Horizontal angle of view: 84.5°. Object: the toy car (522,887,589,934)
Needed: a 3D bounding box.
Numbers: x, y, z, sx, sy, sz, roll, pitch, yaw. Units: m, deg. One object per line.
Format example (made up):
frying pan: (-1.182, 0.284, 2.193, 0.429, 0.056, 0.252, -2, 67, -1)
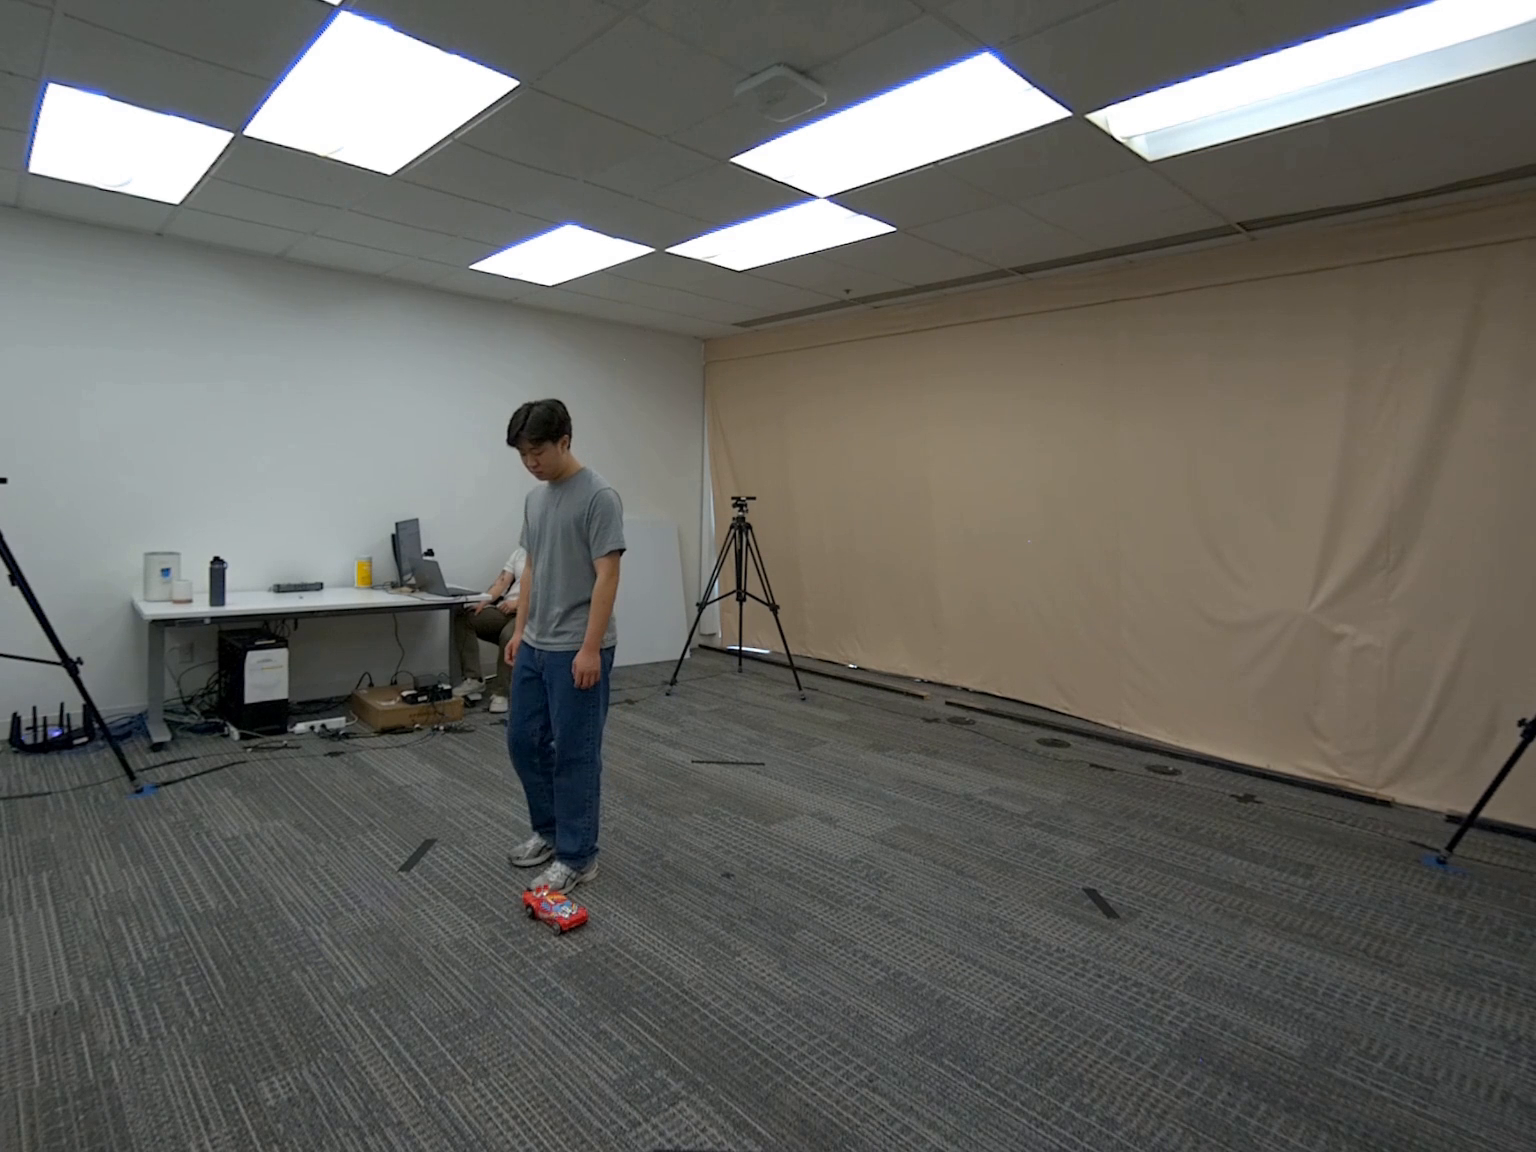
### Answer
toy car: (-0.714, 1.095, 2.757, 0.262, 0.082, 0.127, 19, 16, 39)
